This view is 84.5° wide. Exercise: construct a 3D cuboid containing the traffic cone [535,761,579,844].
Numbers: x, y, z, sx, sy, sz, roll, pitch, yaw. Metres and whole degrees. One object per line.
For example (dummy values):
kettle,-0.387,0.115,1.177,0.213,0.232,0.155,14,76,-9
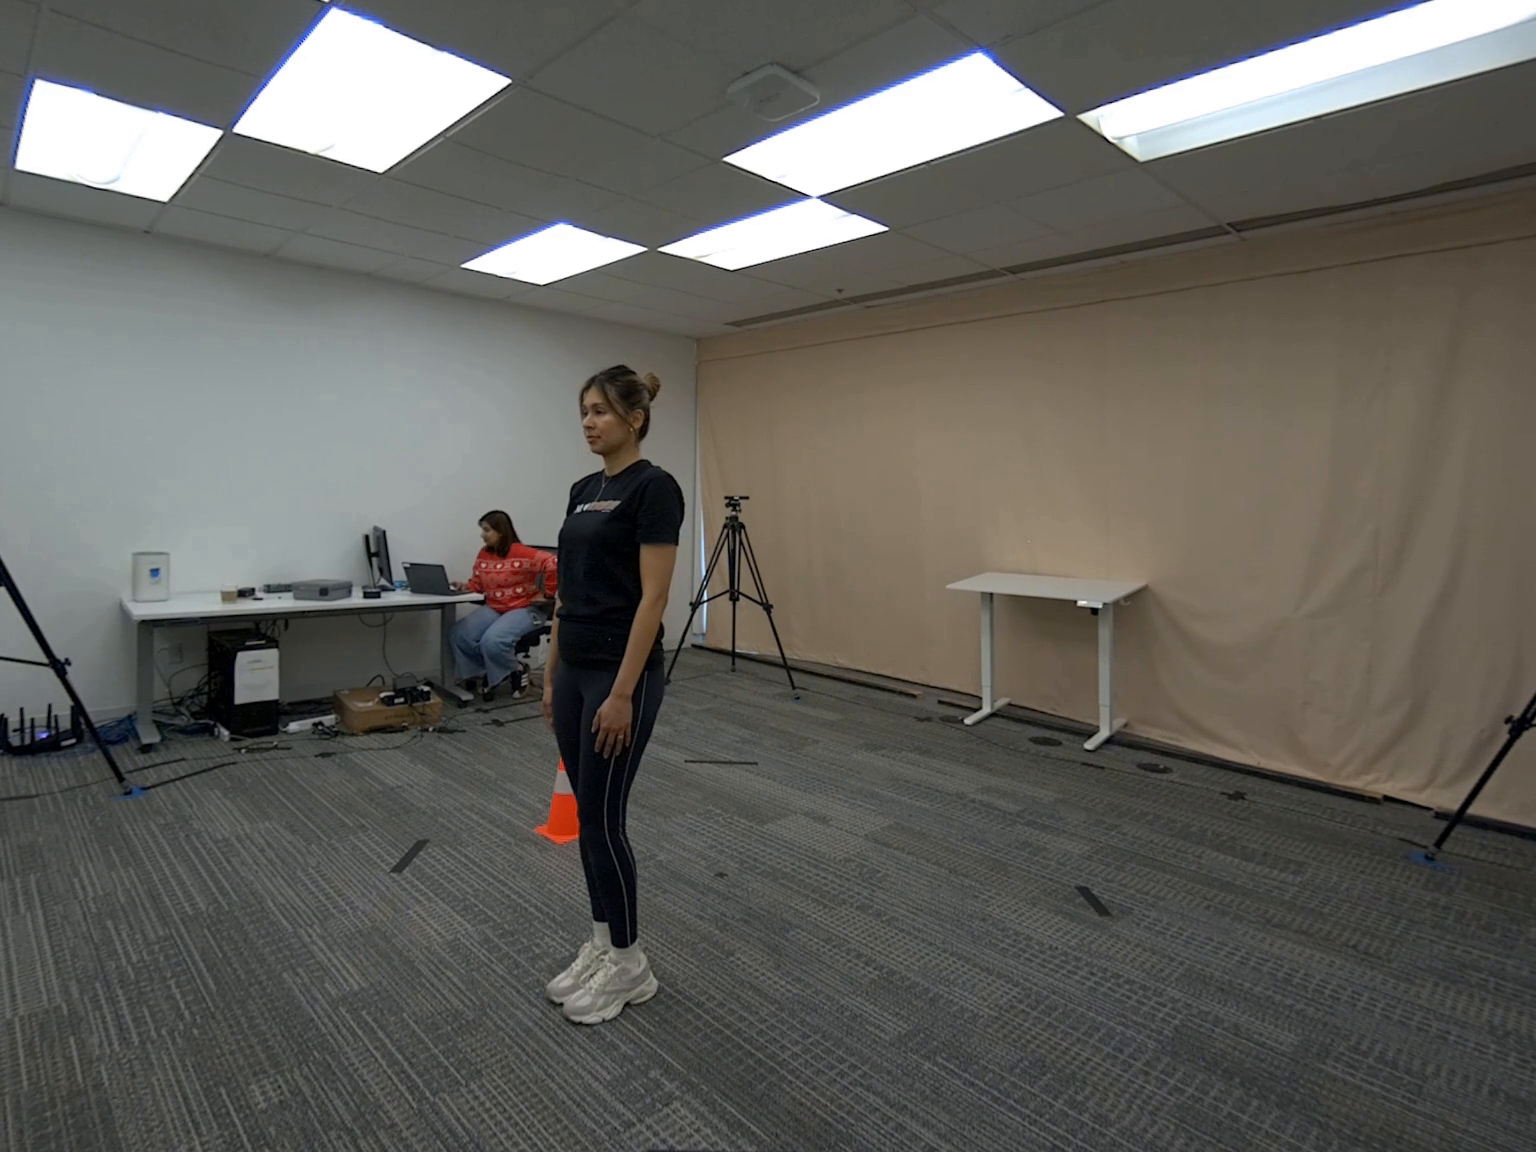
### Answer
traffic cone,-0.840,0.867,3.479,0.200,0.383,0.208,1,3,-43
